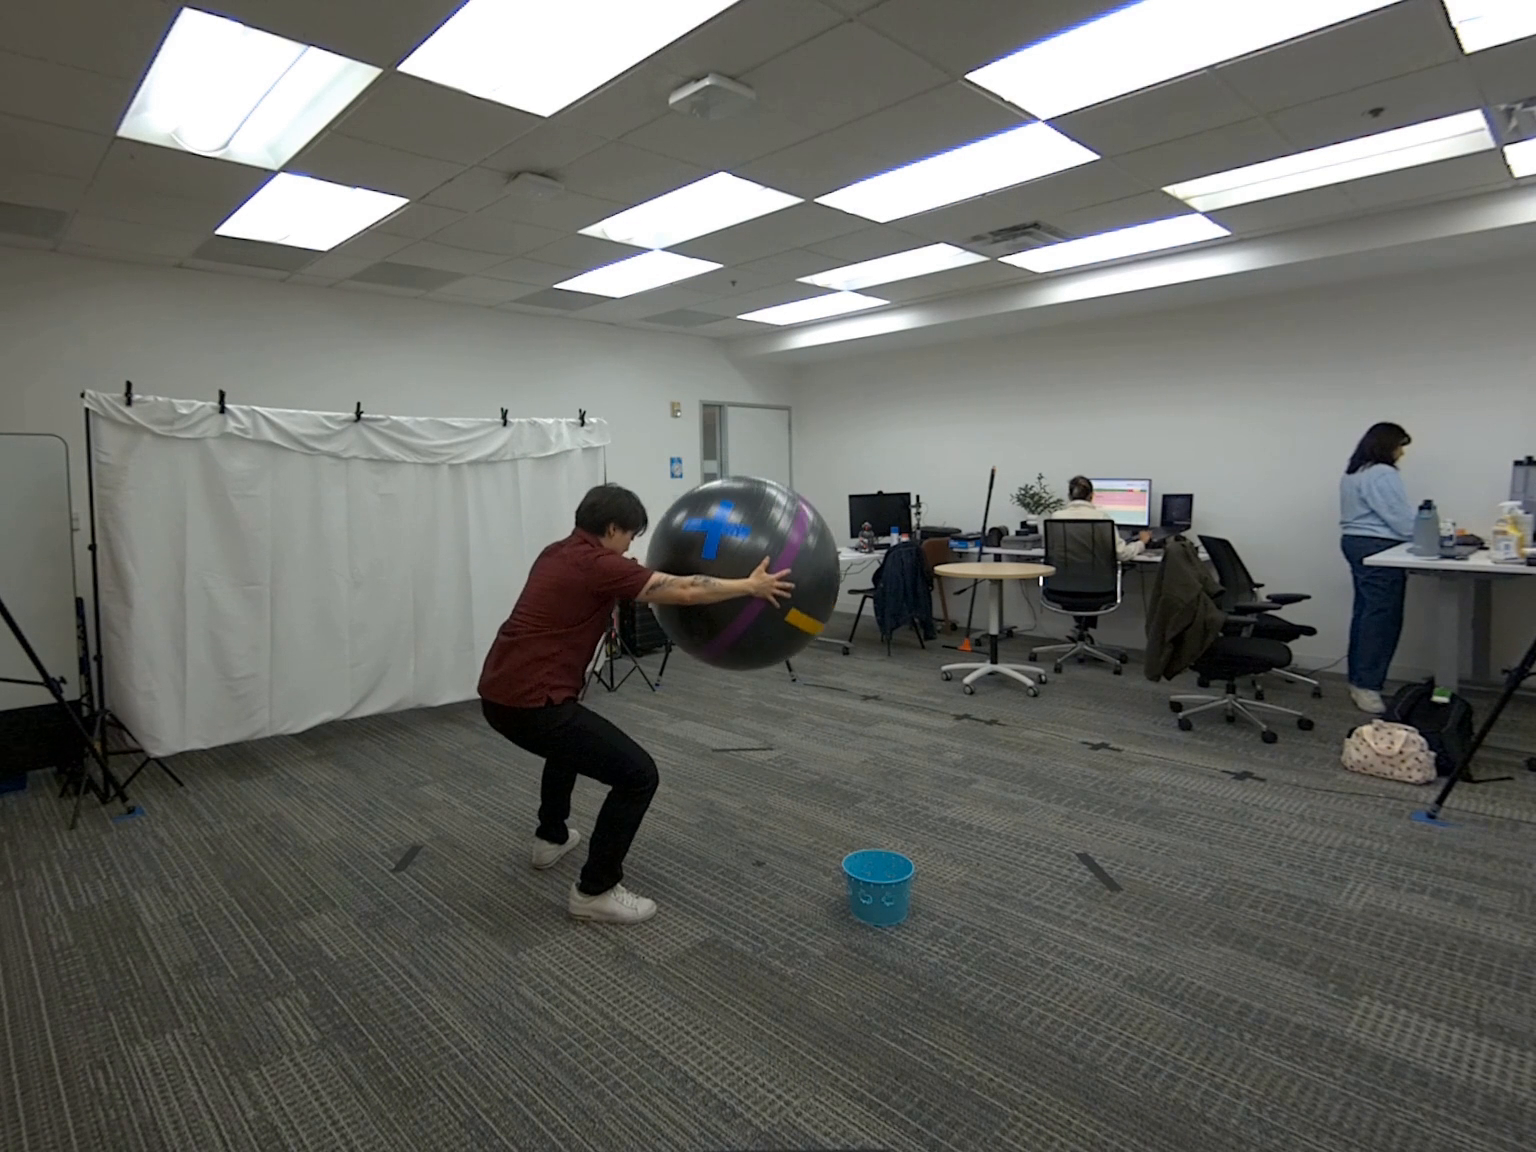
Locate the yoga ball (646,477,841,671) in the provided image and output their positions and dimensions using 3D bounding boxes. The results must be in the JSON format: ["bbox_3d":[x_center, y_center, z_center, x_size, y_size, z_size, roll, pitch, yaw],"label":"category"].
[{"bbox_3d":[-0.103,-0.009,3.341,0.757,0.755,0.762,-1,5,-2],"label":"yoga ball"}]
